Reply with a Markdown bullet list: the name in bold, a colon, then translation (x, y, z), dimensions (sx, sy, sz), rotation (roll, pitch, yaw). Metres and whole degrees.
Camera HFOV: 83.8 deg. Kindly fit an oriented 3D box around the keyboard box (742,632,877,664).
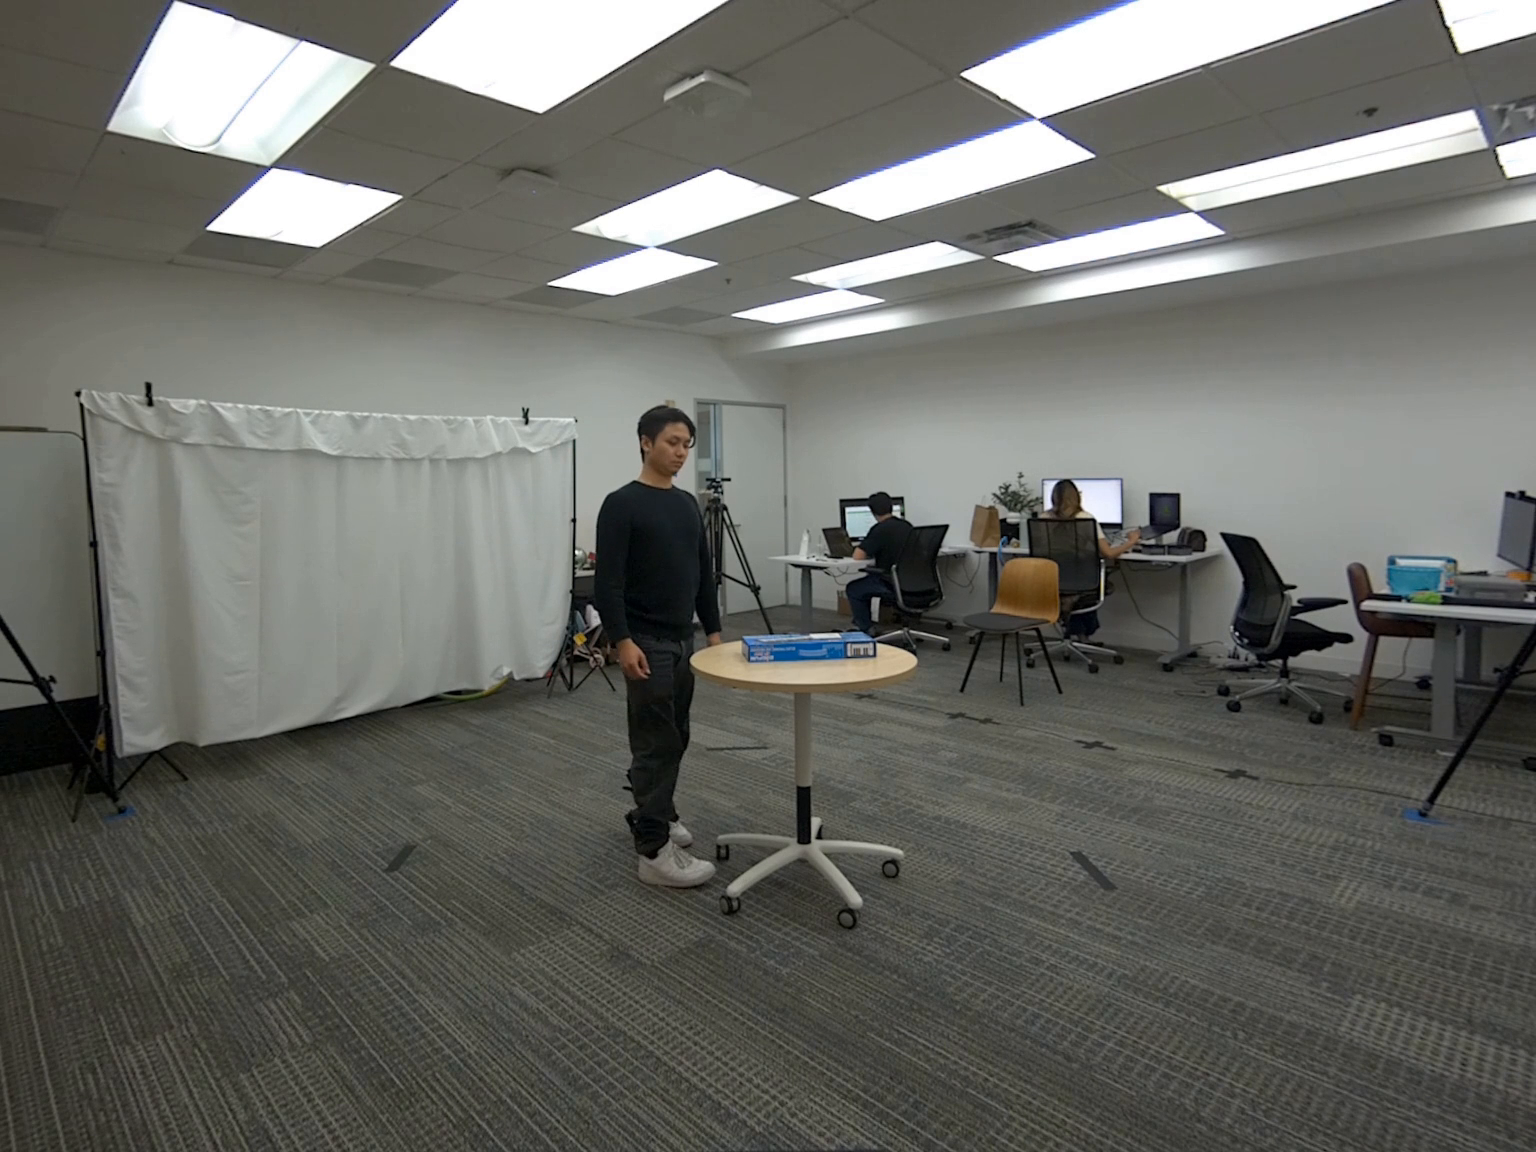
- **keyboard box**: translation (0.140, 0.242, 2.948), dimensions (0.434, 0.059, 0.178), rotation (-2, 5, -7)
